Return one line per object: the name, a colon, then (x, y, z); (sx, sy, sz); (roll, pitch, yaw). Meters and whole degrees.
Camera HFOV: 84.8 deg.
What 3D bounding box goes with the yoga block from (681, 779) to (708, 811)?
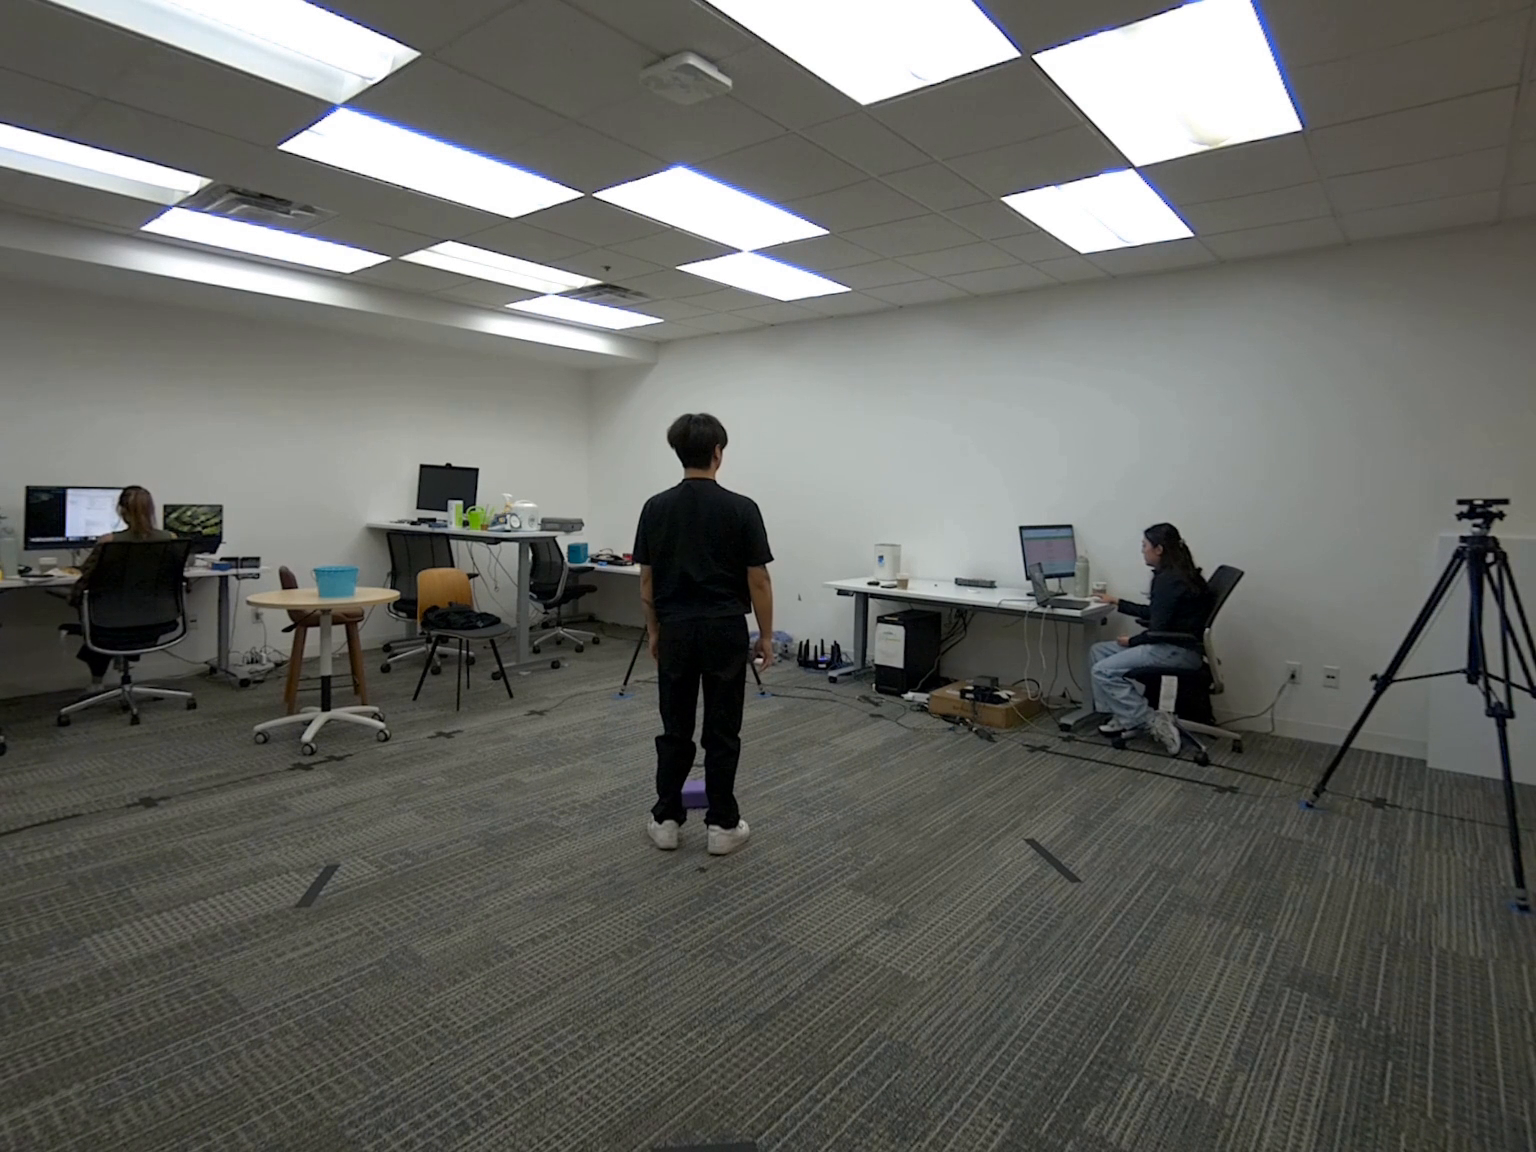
yoga block: (-0.329, 0.954, 3.762); (0.227, 0.076, 0.151); (-1, 7, -10)
